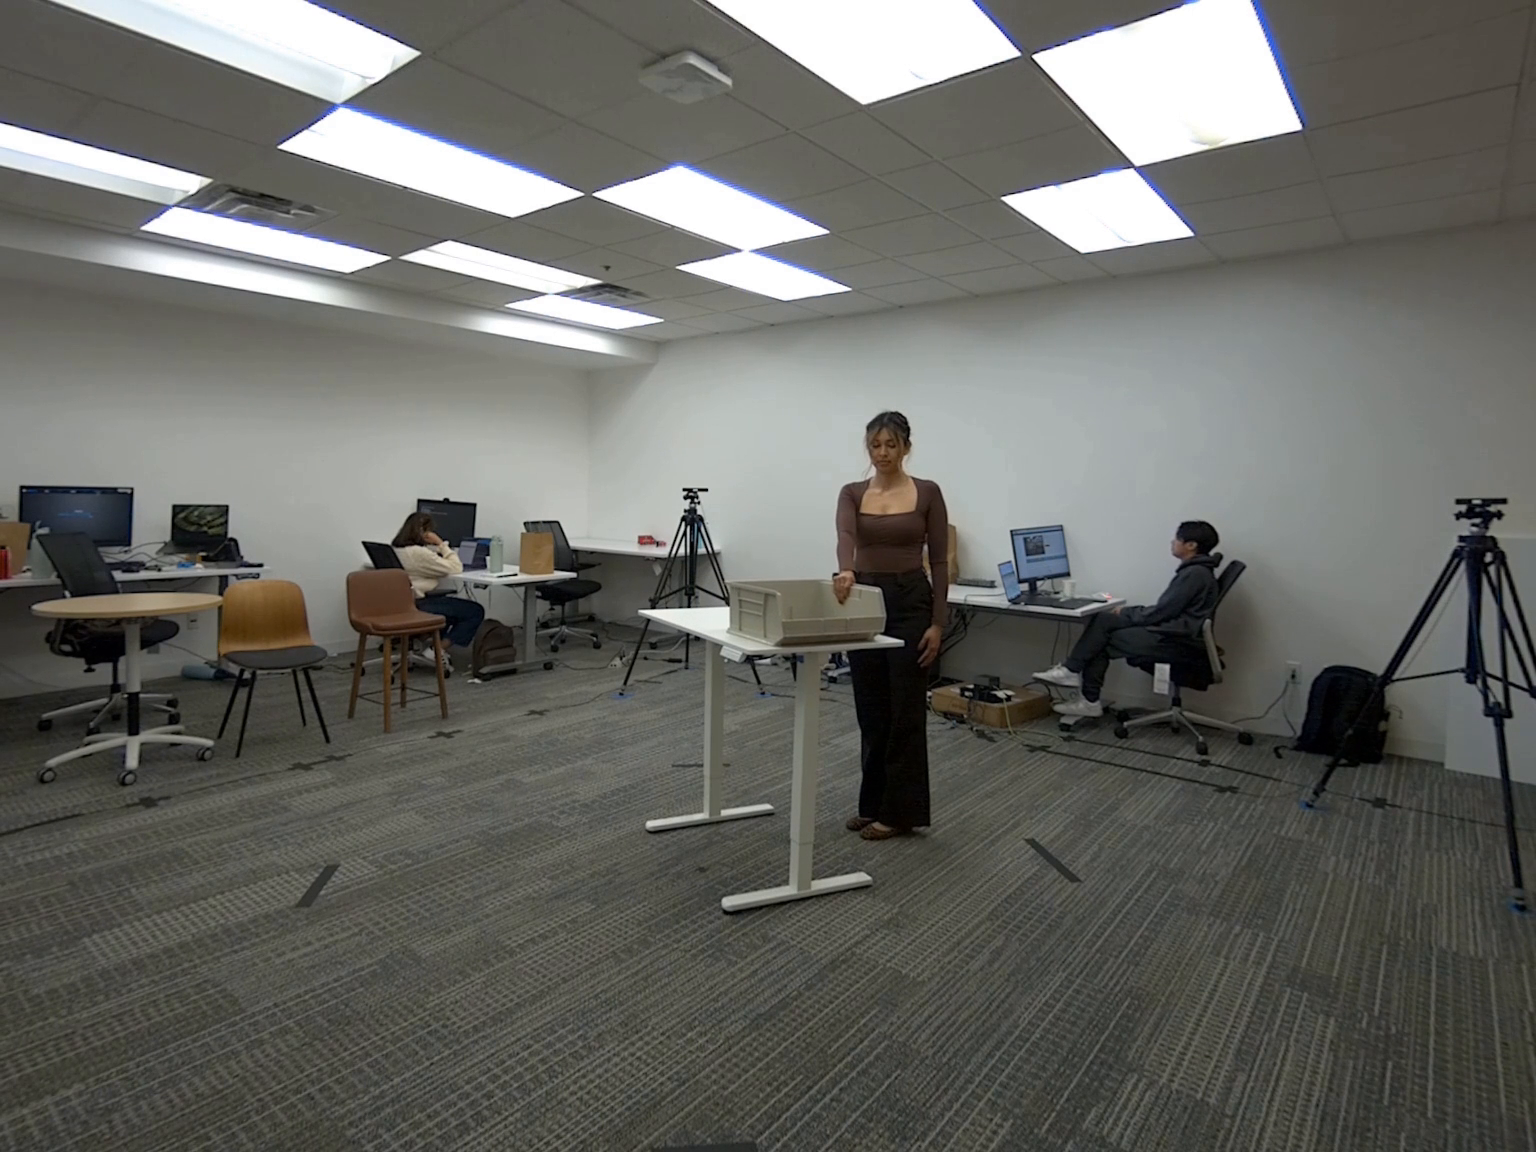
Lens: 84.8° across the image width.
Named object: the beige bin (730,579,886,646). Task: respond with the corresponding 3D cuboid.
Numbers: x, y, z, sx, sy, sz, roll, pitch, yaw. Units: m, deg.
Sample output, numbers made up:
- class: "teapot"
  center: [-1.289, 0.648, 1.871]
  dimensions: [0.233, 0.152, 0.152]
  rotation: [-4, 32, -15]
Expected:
- class: "beige bin"
  center: [0.115, 0.120, 2.920]
  dimensions: [0.411, 0.188, 0.388]
  rotation: [-2, 4, -30]
